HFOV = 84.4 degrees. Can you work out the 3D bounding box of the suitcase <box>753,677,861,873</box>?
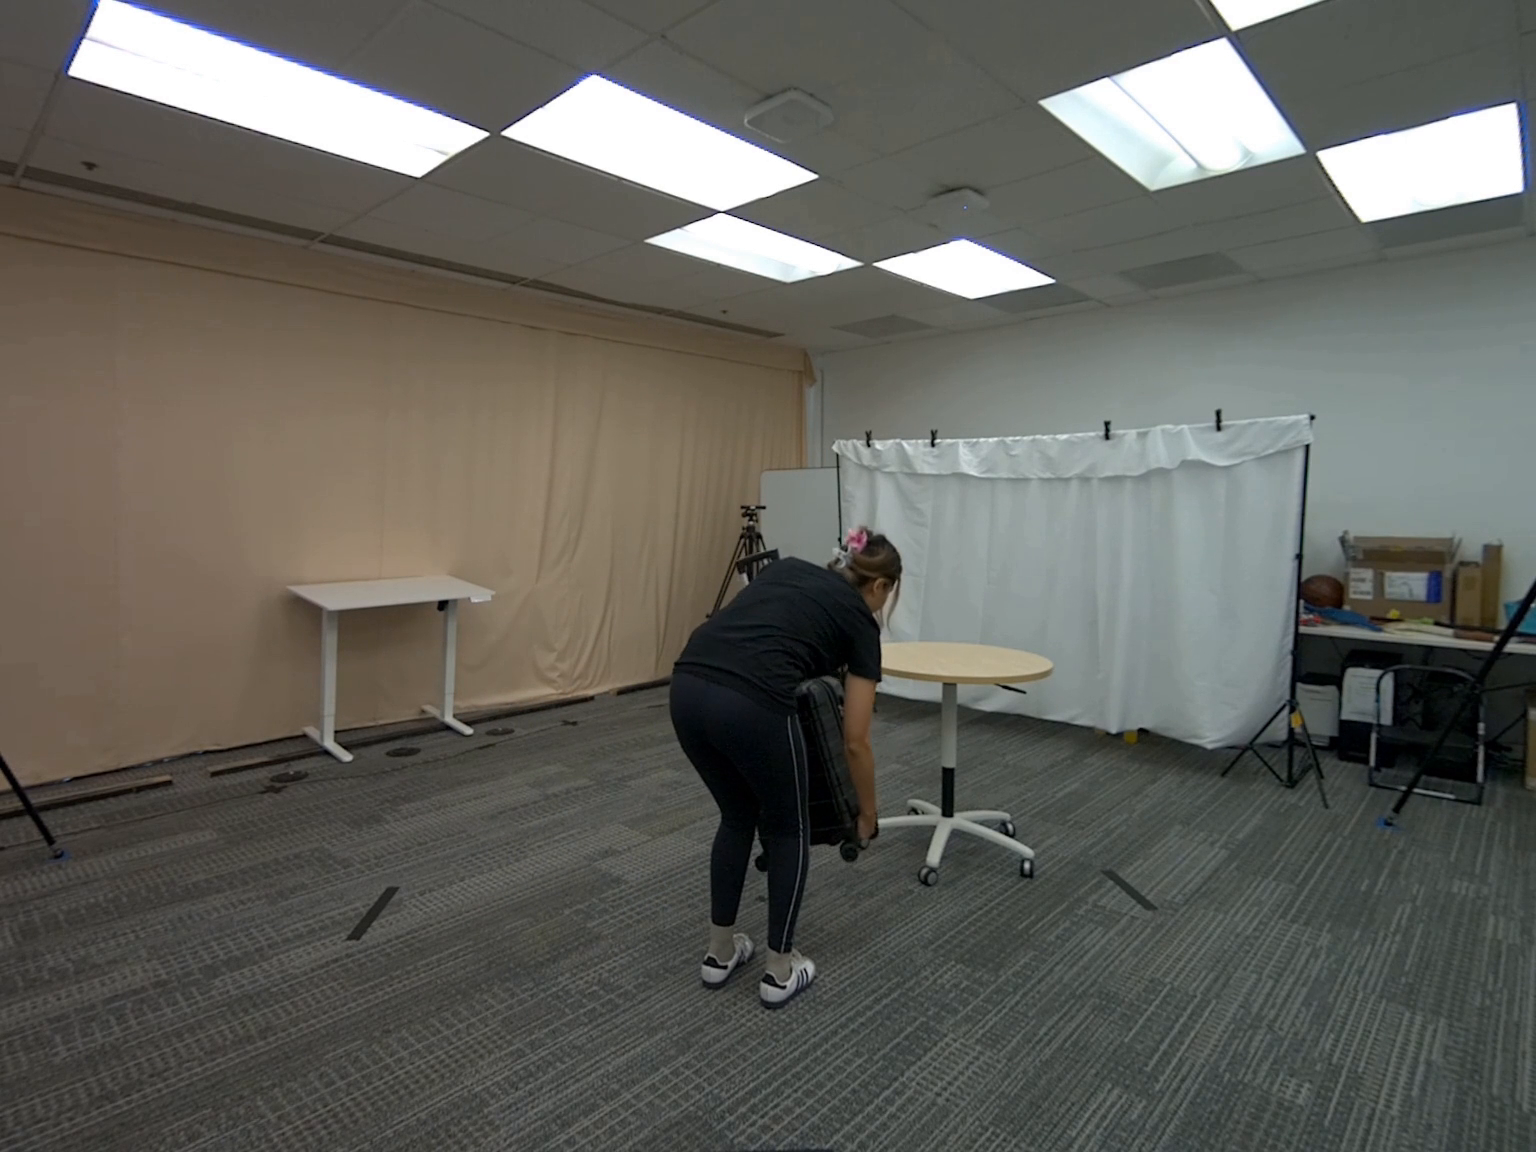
[{"bbox_3d":[0.059,0.415,2.706,0.392,0.981,0.251,-17,-3,27],"label":"suitcase"}]
